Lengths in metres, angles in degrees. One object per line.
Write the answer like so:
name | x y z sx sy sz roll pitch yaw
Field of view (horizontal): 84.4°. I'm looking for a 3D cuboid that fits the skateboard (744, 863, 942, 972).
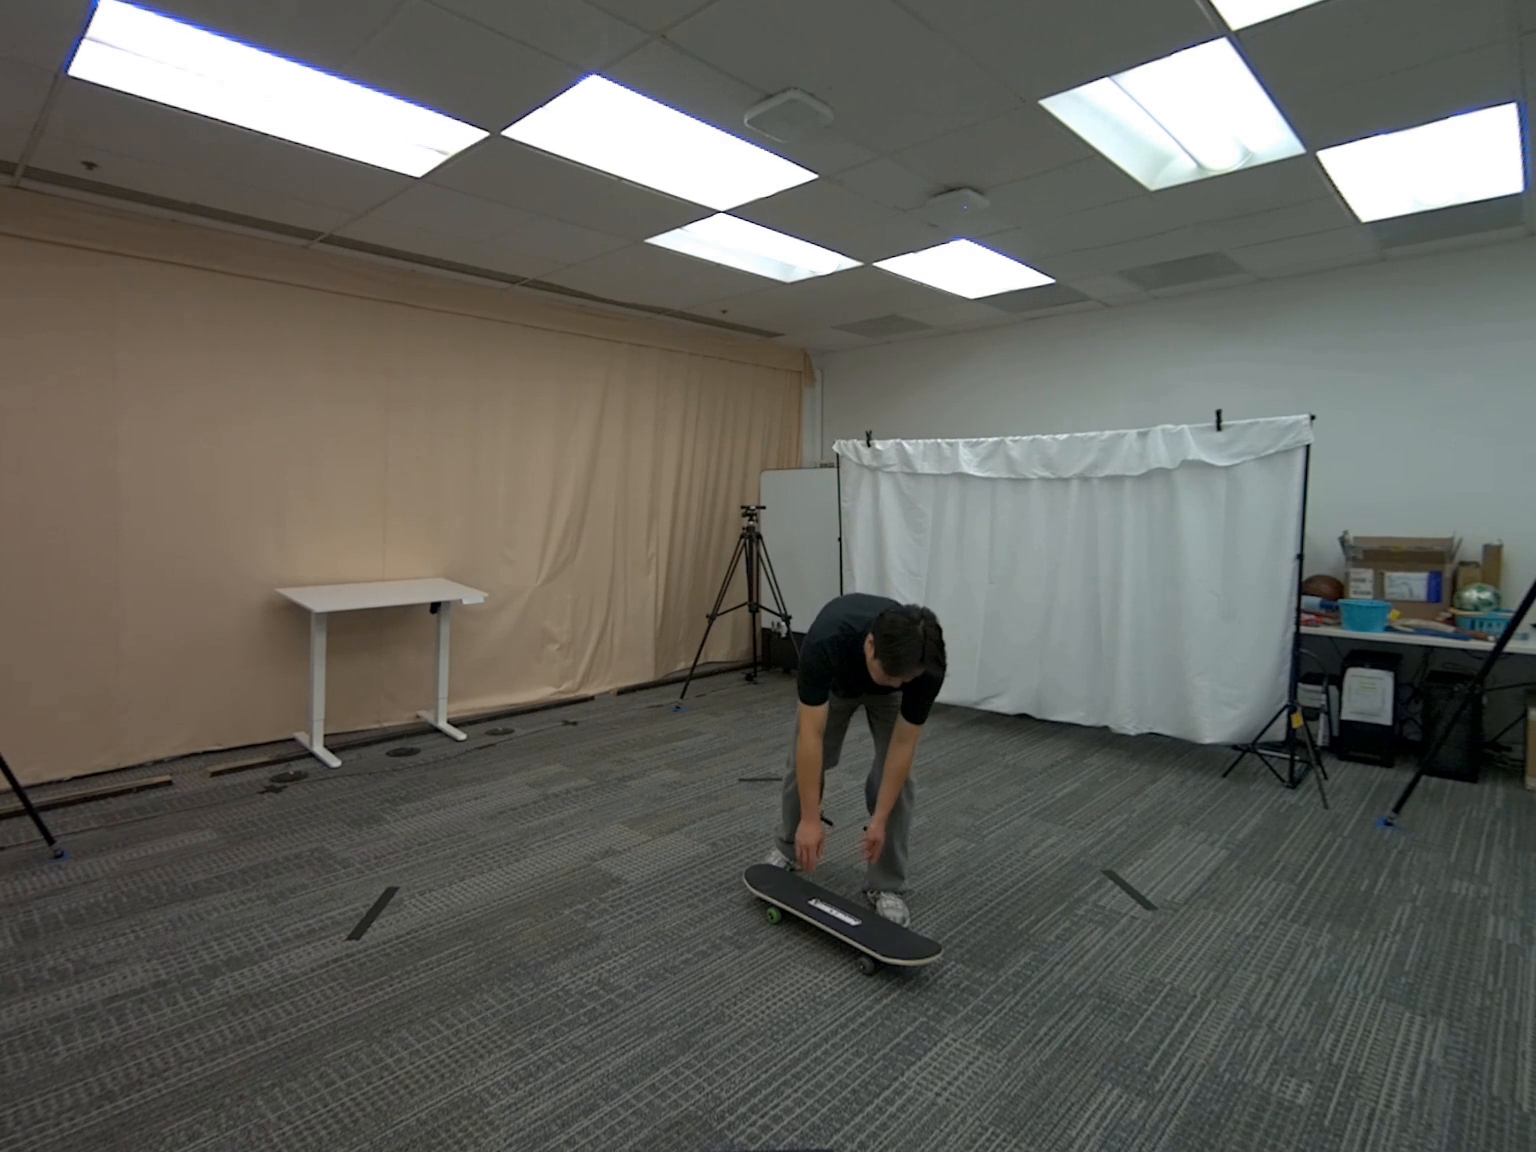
skateboard | 0.218 1.113 2.697 0.187 0.110 0.812 -5 6 -42
